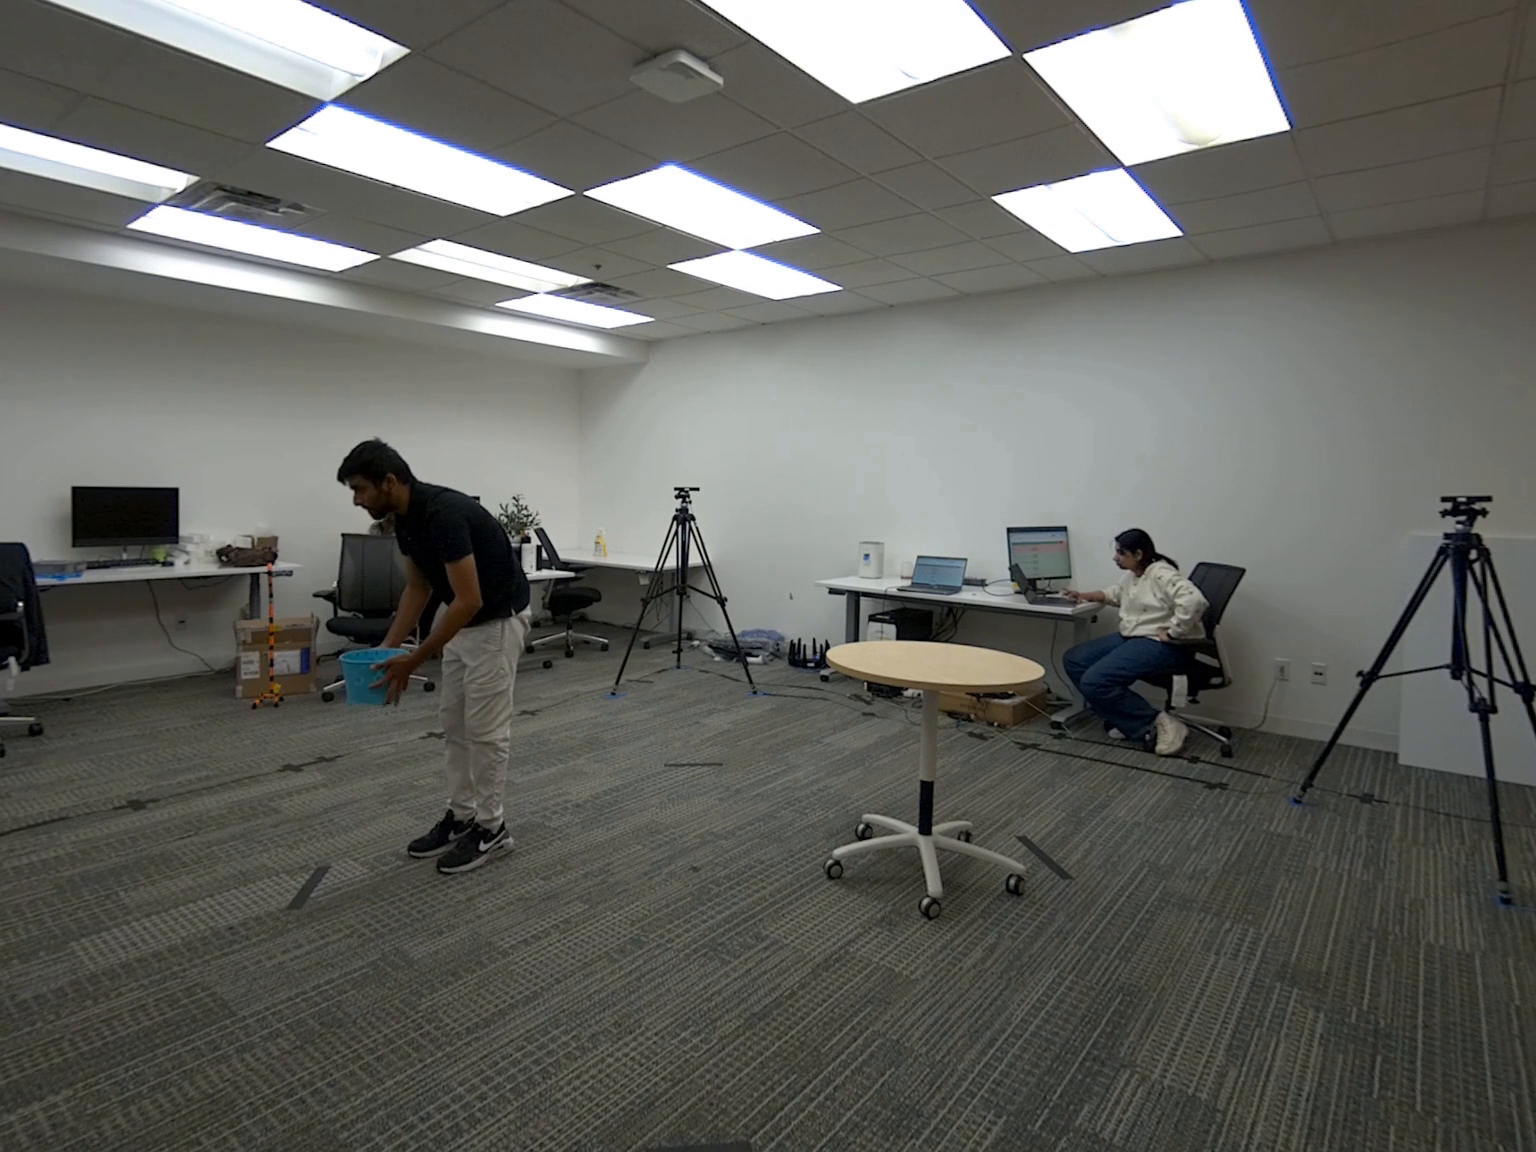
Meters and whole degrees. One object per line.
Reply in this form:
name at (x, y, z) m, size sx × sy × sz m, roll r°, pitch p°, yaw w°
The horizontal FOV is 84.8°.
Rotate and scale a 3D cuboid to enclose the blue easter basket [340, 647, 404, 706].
blue easter basket at (-1.397, 0.353, 2.972) m, size 0.243 × 0.155 × 0.245 m, roll 2°, pitch 6°, yaw -2°
